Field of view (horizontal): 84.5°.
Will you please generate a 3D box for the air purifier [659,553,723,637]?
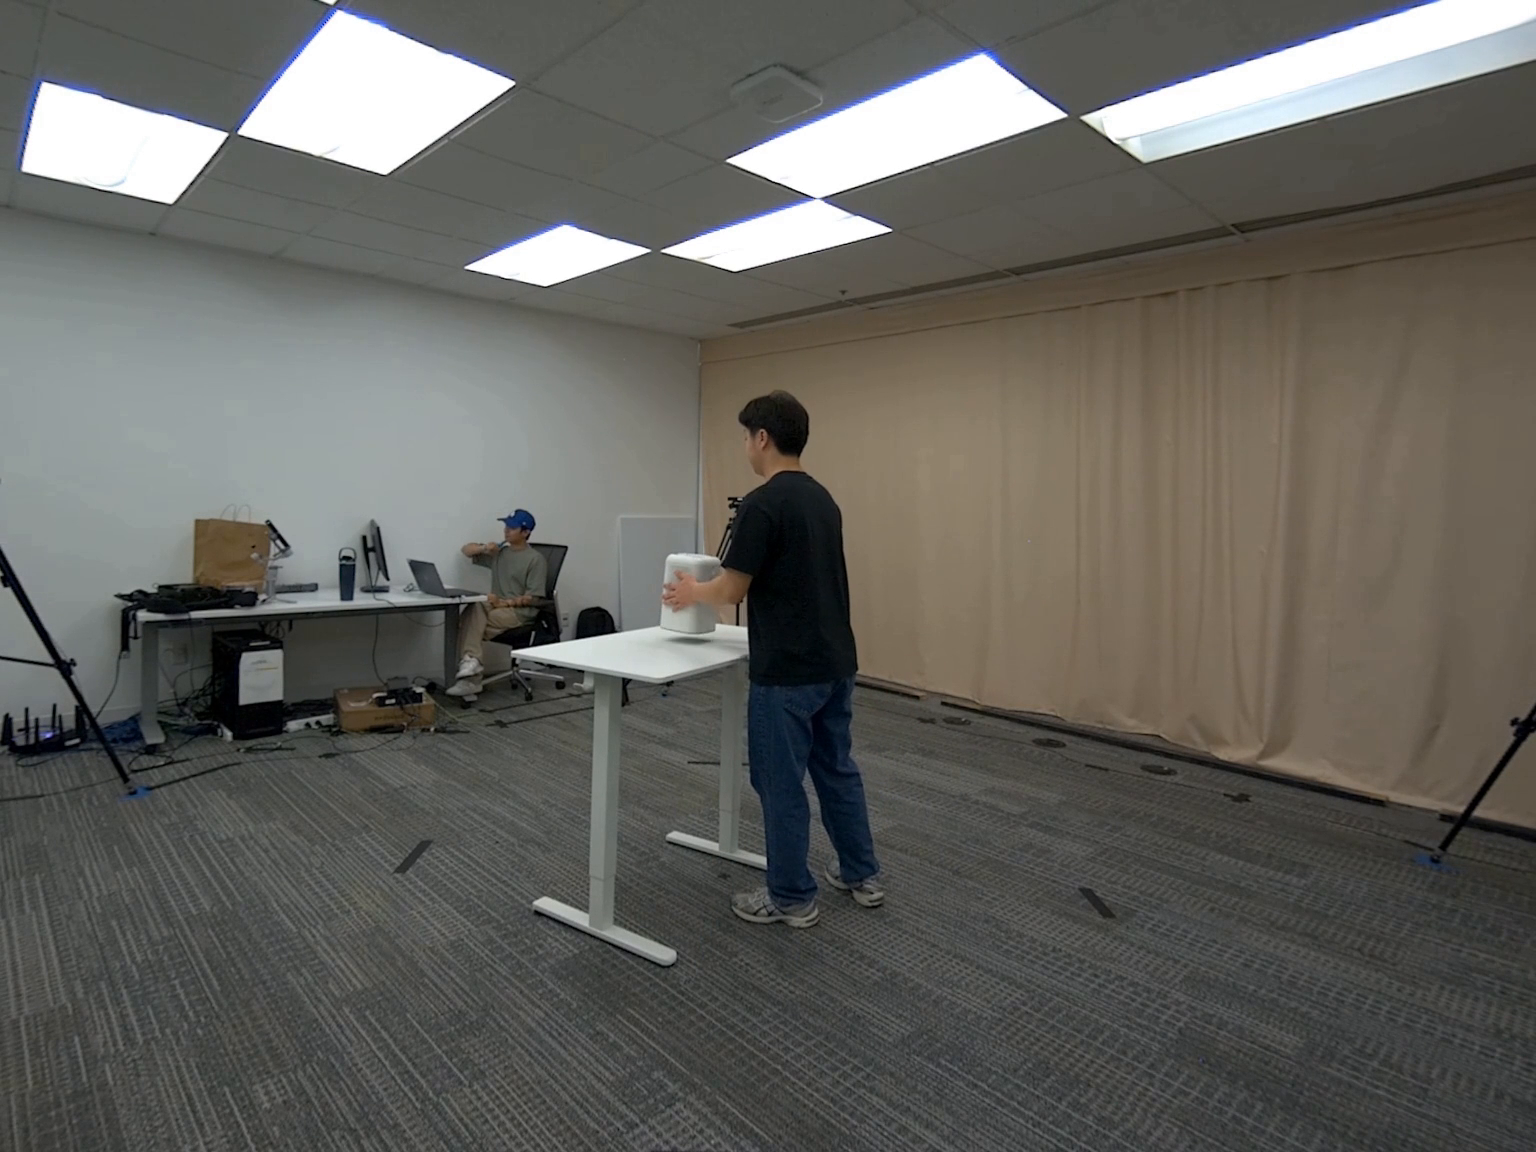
[{"bbox_3d":[-0.272,0.059,2.990,0.175,0.264,0.168,8,5,27],"label":"air purifier"}]
